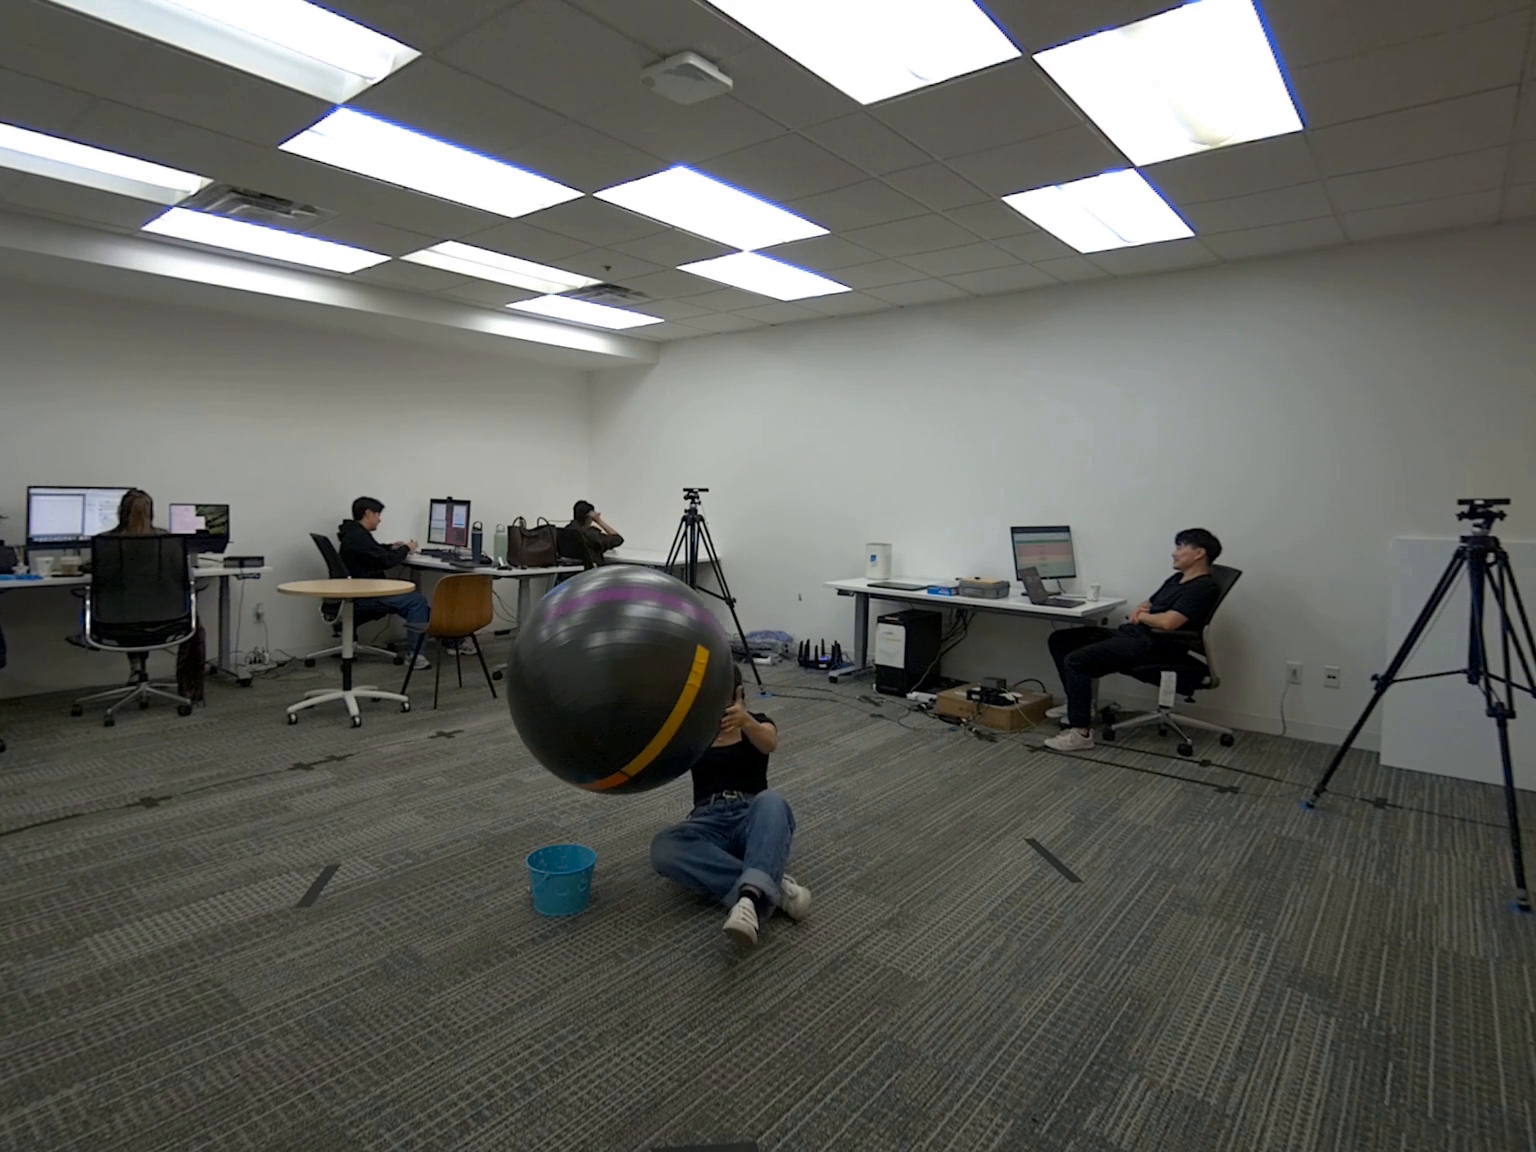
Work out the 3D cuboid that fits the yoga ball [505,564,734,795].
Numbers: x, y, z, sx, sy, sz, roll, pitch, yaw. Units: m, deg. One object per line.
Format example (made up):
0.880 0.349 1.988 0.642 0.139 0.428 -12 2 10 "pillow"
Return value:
-0.508 0.350 2.863 0.757 0.755 0.762 1 4 -2 "yoga ball"
